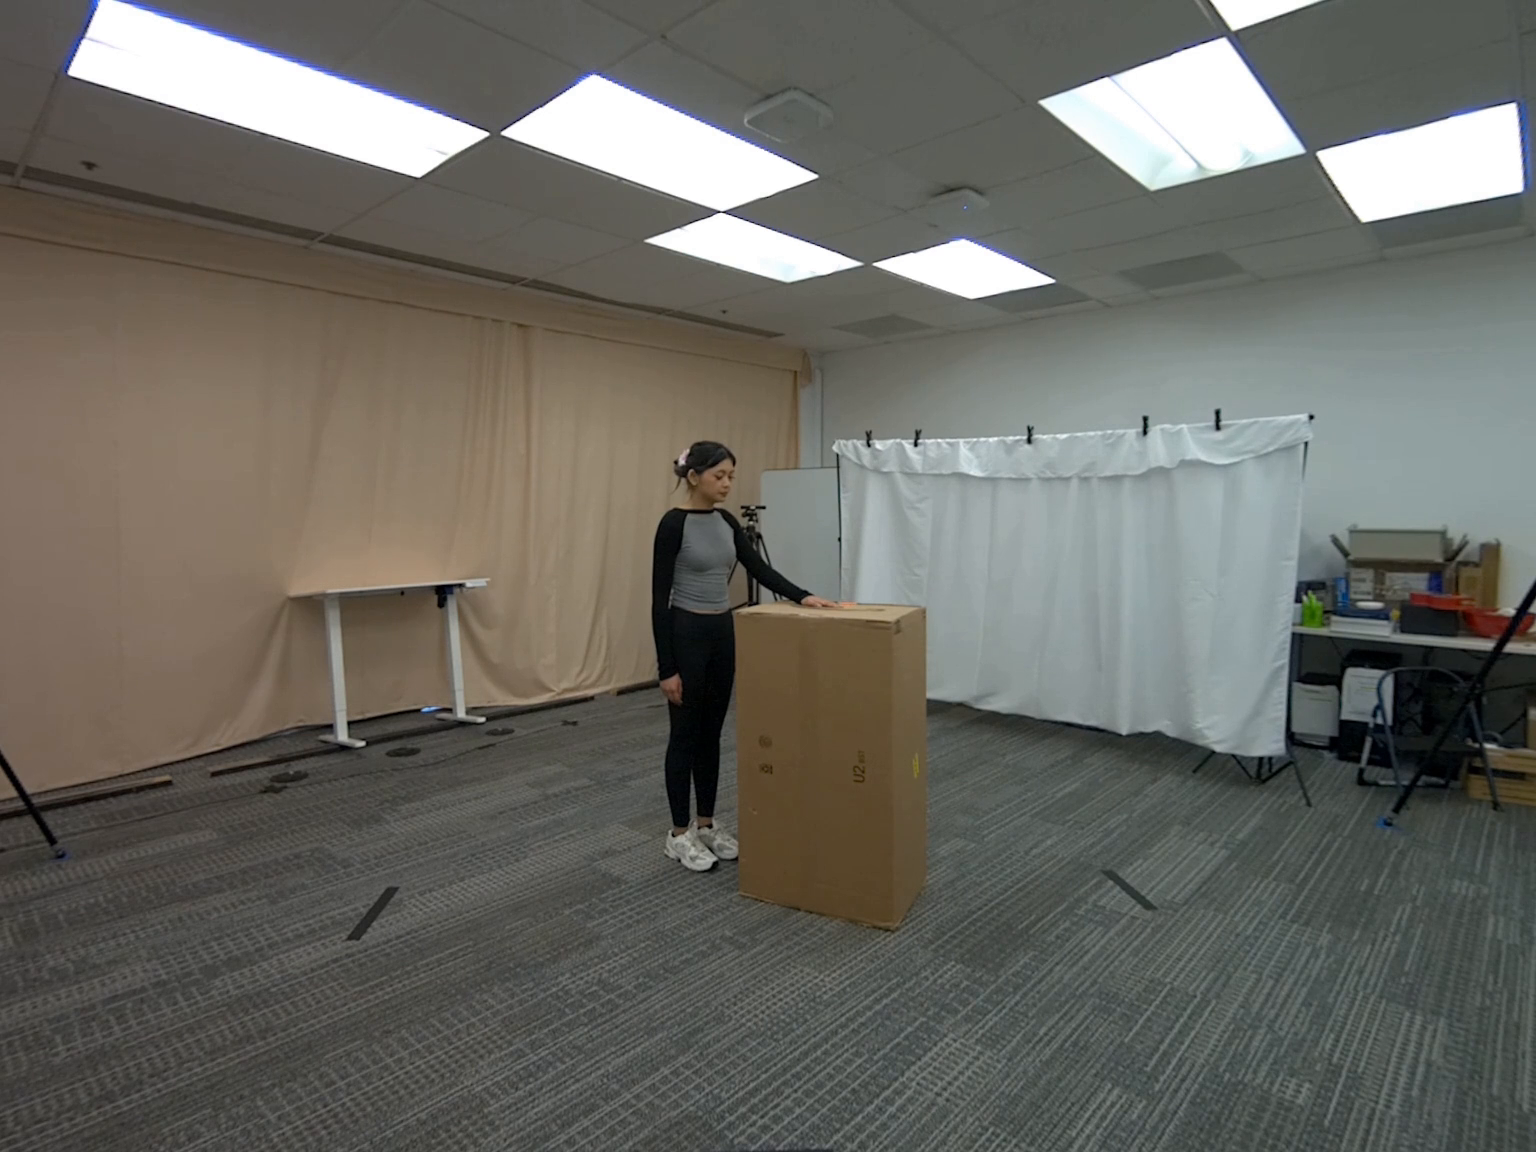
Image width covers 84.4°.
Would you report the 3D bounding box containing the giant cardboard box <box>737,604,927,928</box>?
[{"bbox_3d":[0.244,0.633,3.039,0.599,1.025,0.436,1,4,26],"label":"giant cardboard box"}]
